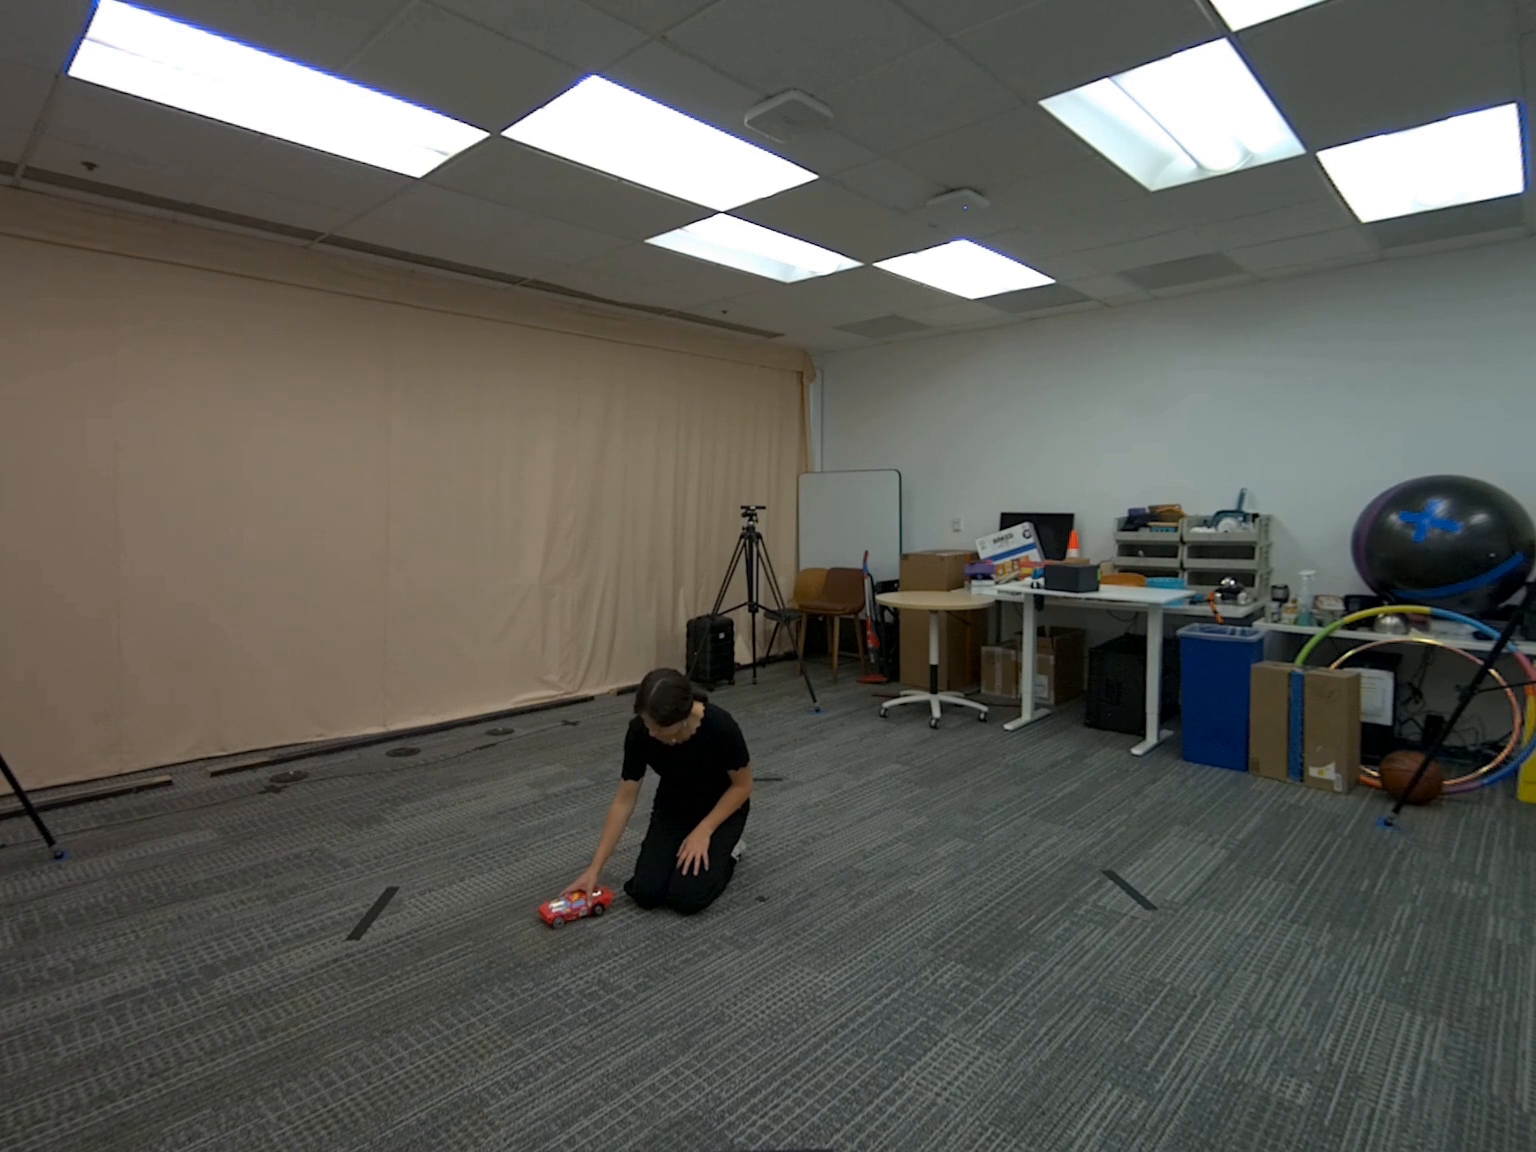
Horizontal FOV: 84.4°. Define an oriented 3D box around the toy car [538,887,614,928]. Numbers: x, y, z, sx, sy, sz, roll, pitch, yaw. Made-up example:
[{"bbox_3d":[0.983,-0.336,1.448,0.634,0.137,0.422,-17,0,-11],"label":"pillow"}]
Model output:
[{"bbox_3d":[-0.652,1.128,2.878,0.249,0.082,0.134,-17,12,-34],"label":"toy car"}]
